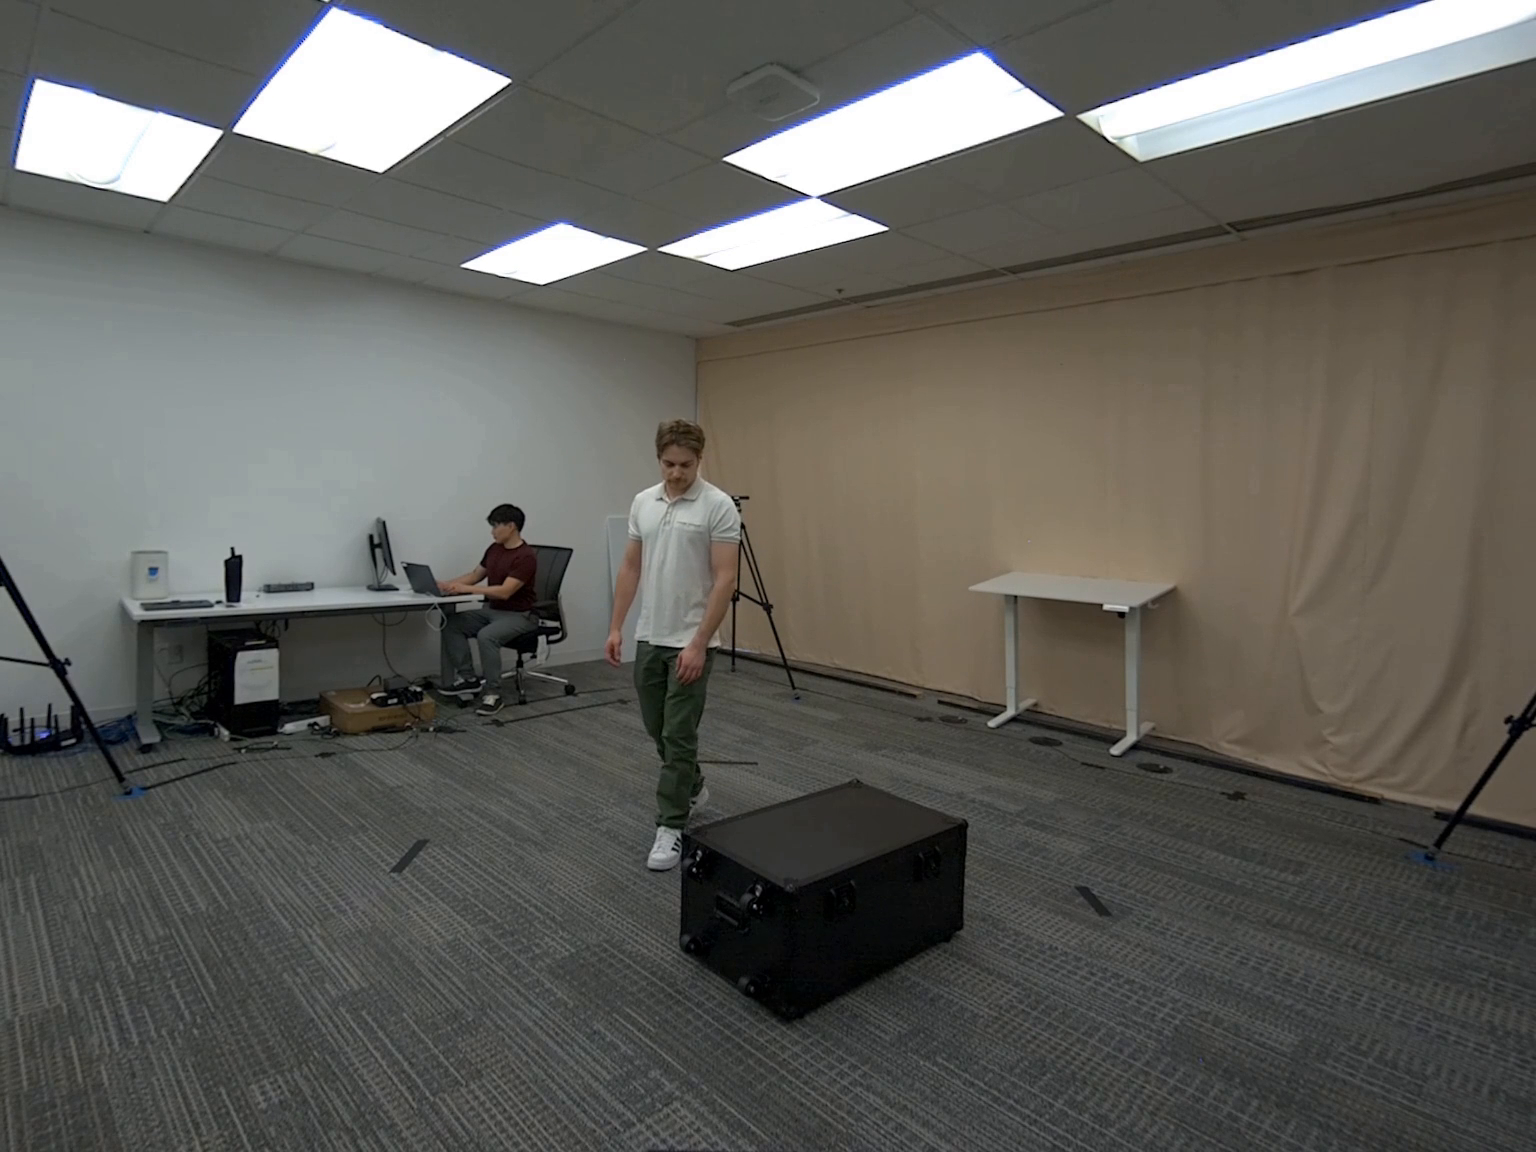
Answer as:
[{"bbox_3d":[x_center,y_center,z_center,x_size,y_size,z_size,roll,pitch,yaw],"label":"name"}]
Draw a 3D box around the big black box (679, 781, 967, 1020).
[{"bbox_3d":[0.153,0.965,2.610,0.842,0.395,0.535,-2,6,-41],"label":"big black box"}]
